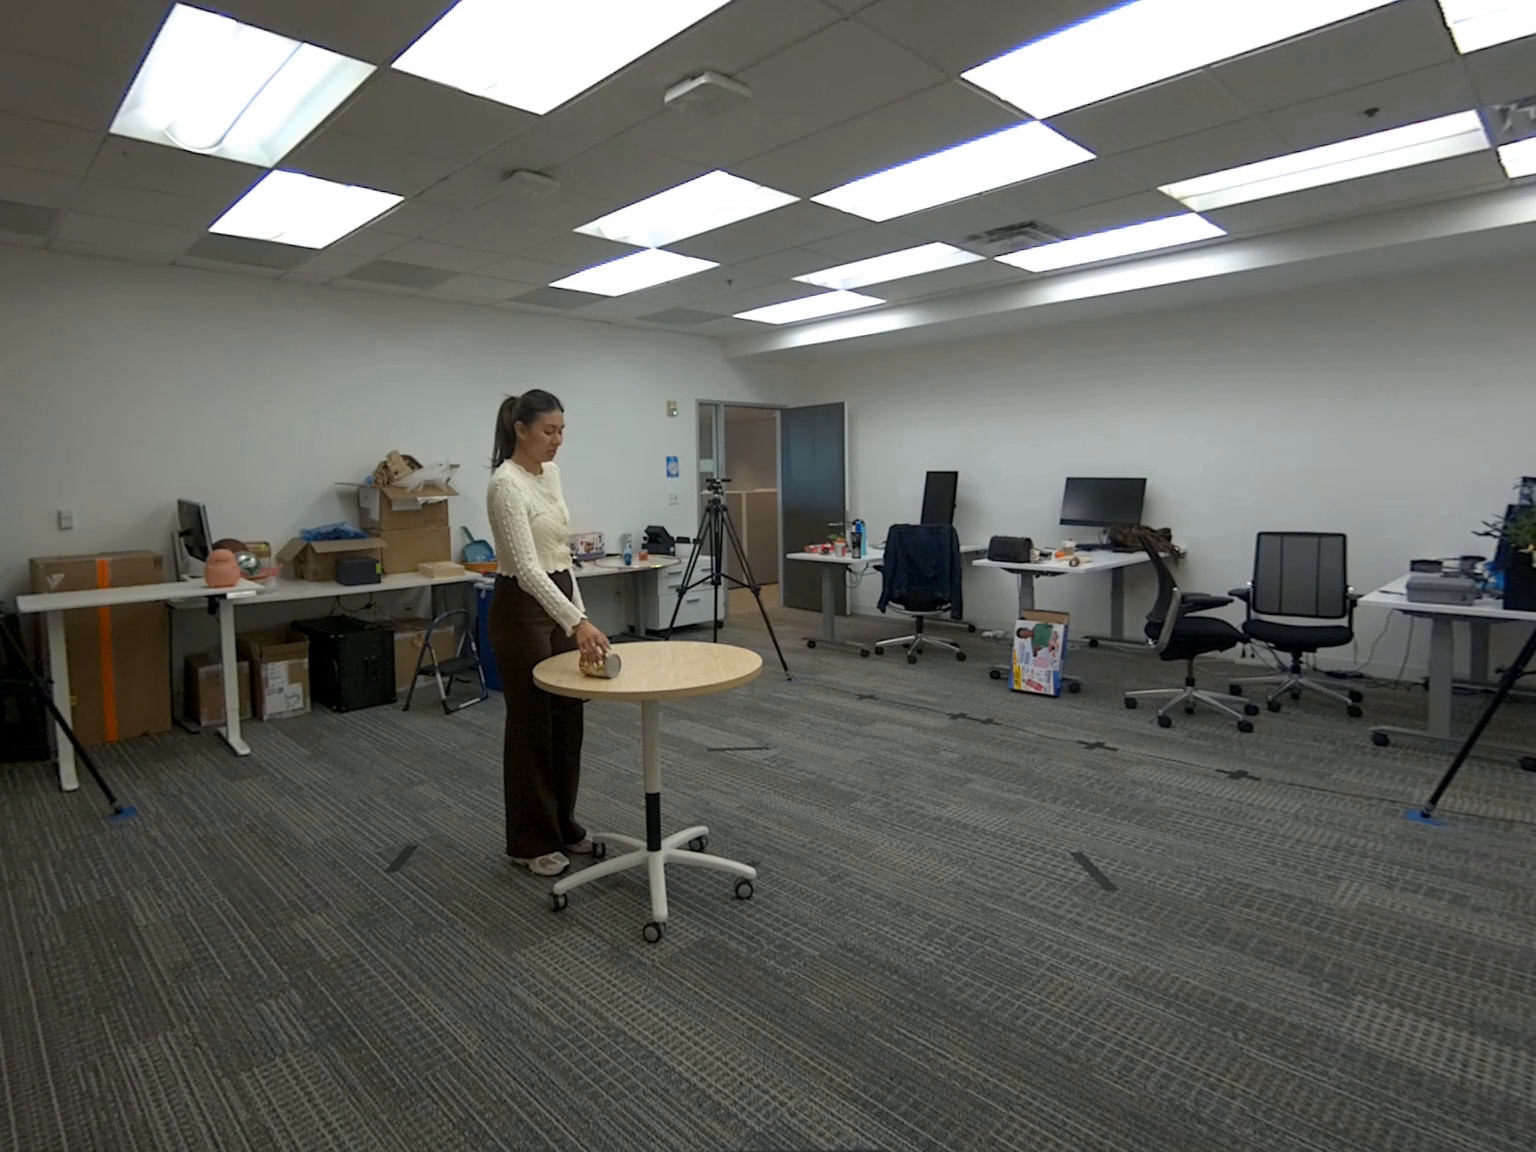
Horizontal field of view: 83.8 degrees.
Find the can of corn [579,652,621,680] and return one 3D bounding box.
[{"bbox_3d":[-0.525,0.279,2.699,0.113,0.074,0.073,-1,4,20],"label":"can of corn"}]
